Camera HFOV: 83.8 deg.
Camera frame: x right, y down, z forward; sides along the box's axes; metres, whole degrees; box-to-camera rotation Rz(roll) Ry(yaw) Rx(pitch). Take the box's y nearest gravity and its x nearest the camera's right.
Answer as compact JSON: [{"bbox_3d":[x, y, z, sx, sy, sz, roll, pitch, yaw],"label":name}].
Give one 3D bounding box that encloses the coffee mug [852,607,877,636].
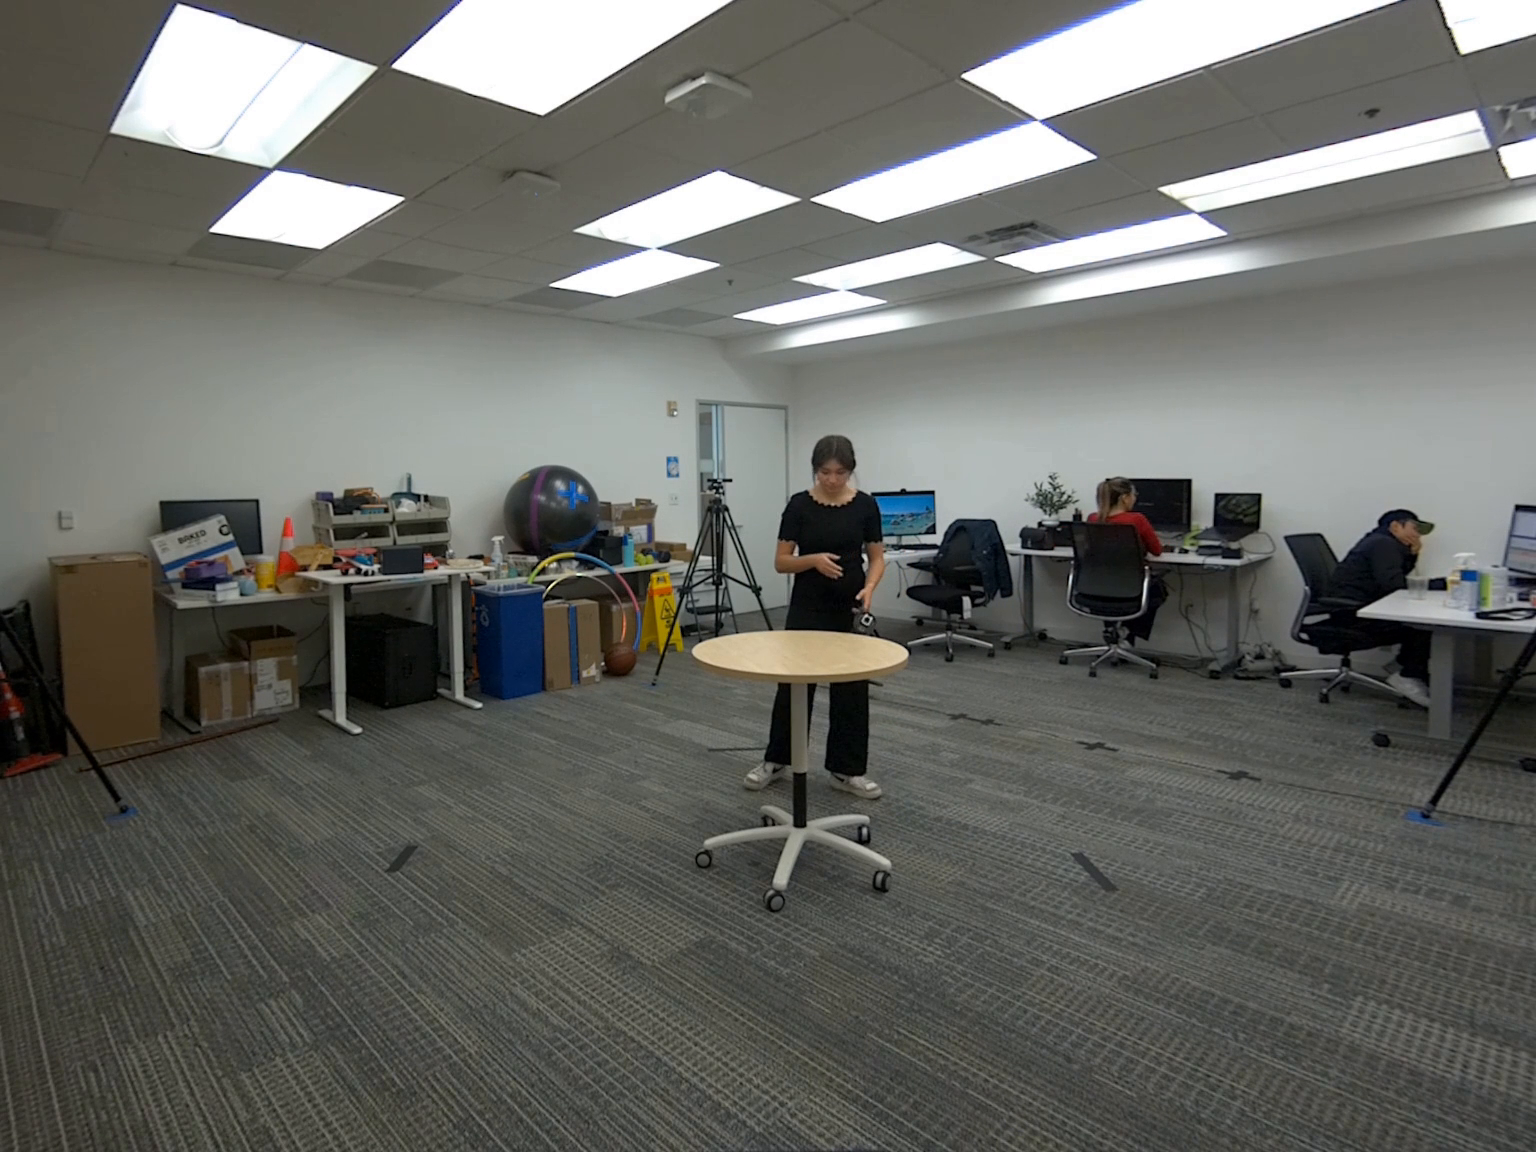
[{"bbox_3d":[0.401,0.202,3.600,0.089,0.122,0.199,36,-18,11],"label":"coffee mug"}]
